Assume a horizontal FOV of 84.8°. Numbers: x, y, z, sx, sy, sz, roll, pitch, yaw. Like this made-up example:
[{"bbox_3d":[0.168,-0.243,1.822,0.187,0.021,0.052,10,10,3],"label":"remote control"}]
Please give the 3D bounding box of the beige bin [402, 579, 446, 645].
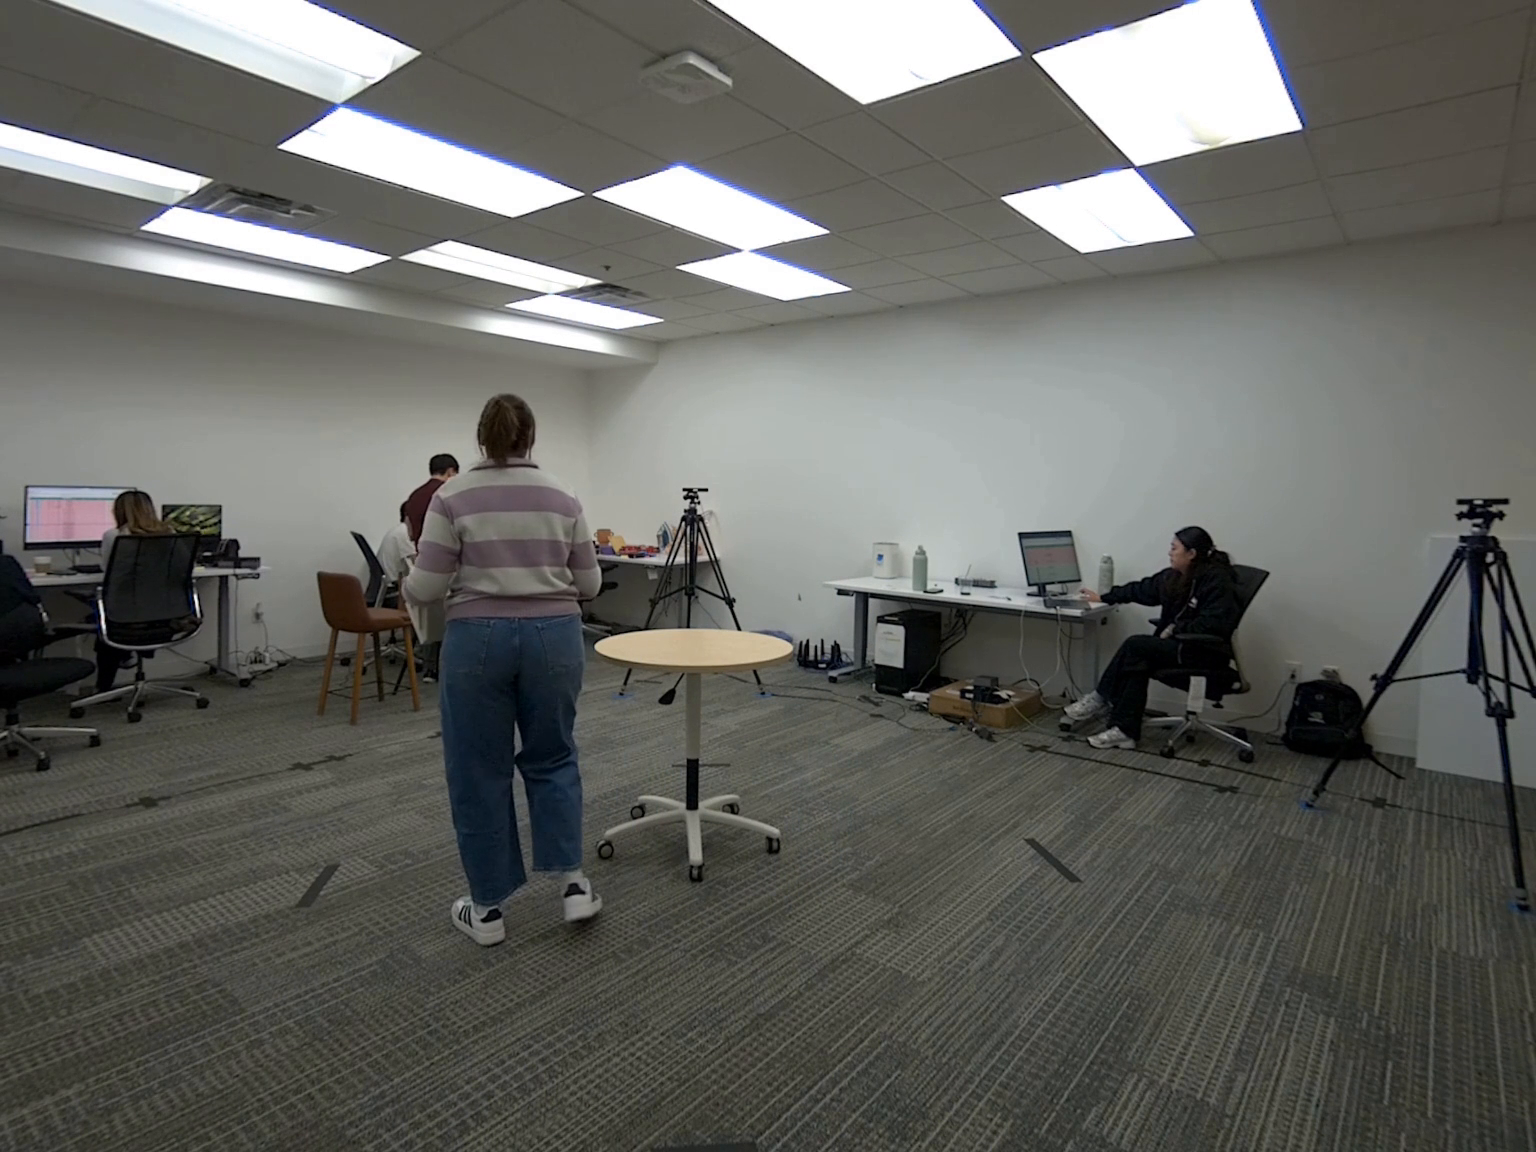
[{"bbox_3d":[-1.031,0.062,2.973,0.411,0.186,0.393,-3,25,-30],"label":"beige bin"}]
